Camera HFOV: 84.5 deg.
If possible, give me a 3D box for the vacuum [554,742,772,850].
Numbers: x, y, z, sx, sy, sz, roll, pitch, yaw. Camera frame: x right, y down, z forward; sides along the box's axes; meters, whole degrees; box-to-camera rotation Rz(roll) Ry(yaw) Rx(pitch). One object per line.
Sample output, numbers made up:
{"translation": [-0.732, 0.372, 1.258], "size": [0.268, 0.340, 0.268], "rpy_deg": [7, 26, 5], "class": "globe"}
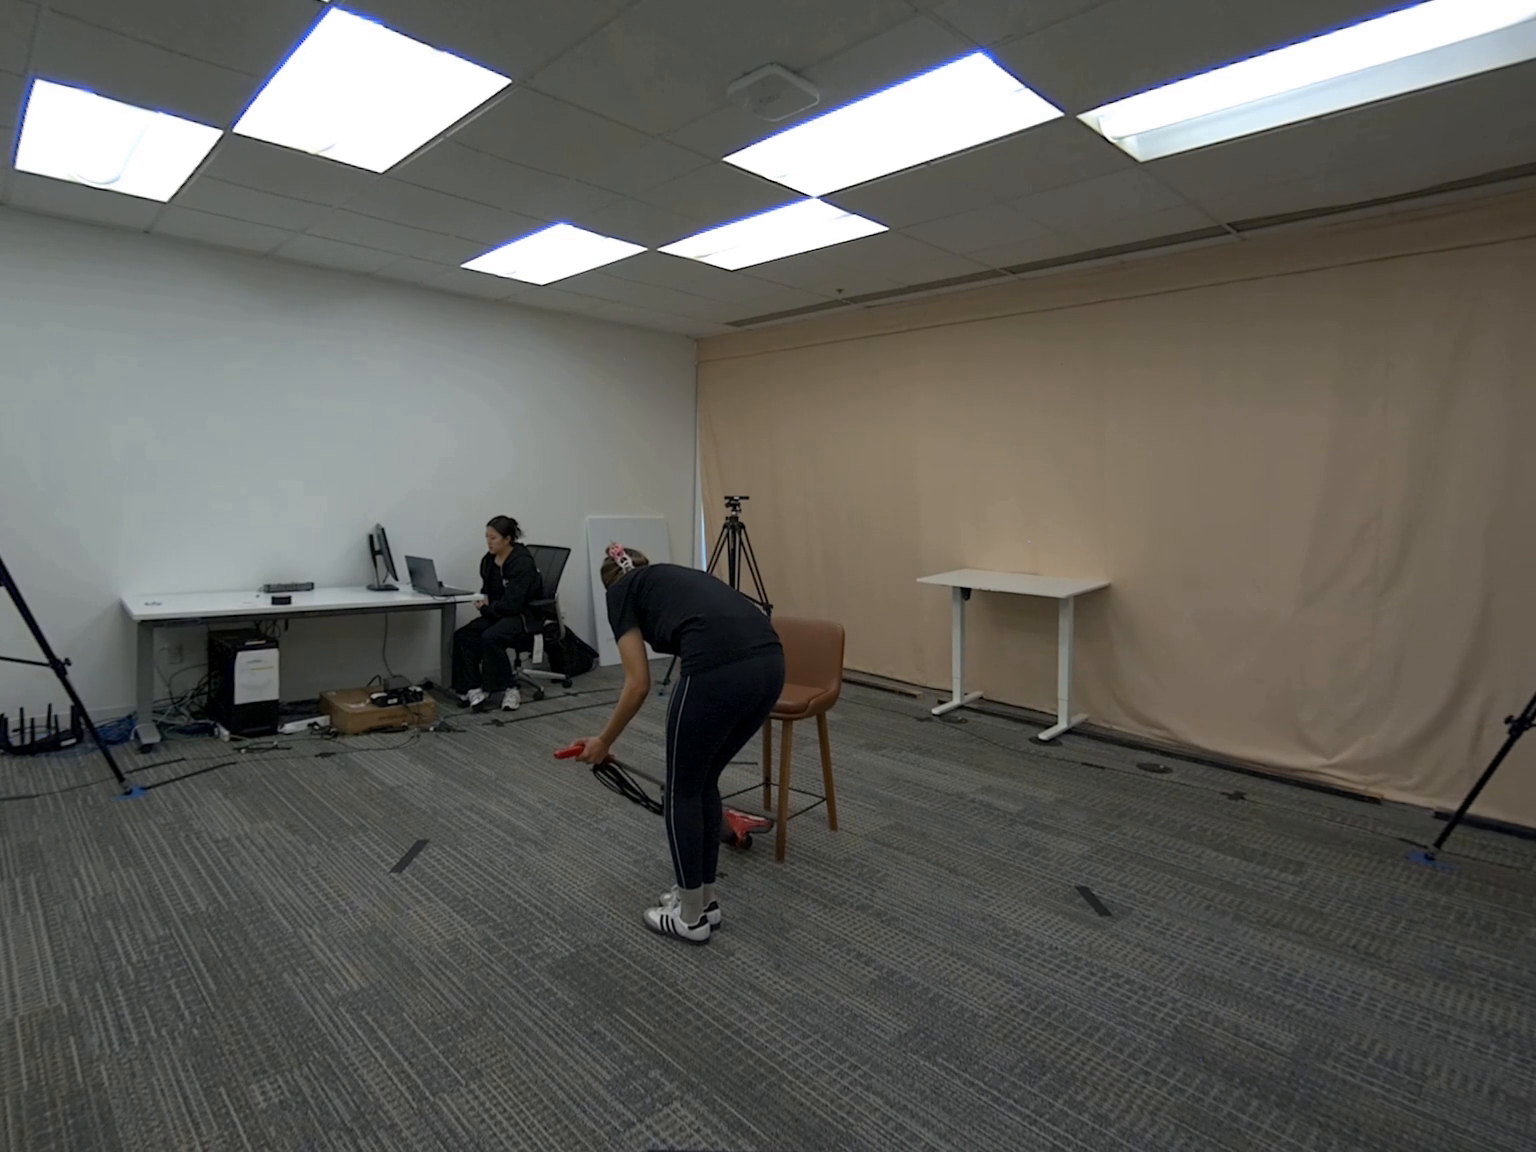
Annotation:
{"translation": [-0.395, 0.796, 3.003], "size": [0.258, 0.145, 1.016], "rpy_deg": [0, -26, 40], "class": "vacuum"}
